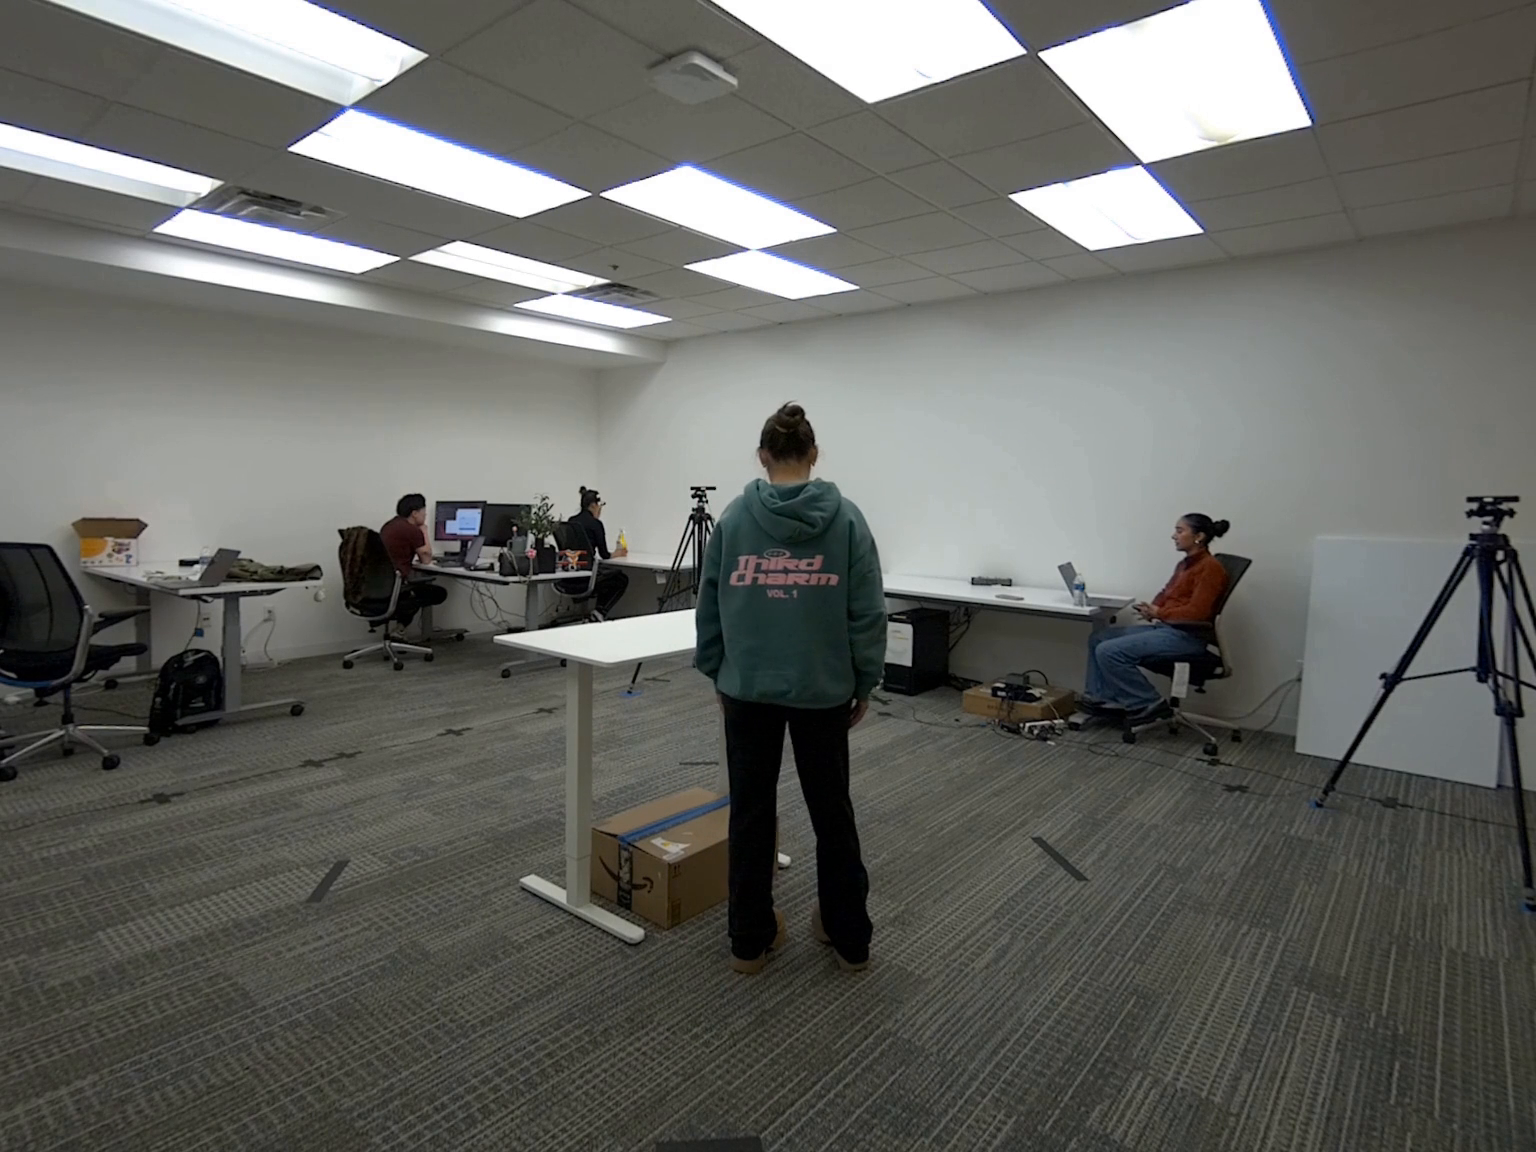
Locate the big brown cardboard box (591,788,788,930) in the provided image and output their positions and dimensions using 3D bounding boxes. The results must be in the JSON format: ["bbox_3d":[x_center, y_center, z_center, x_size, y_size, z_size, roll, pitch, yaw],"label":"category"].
[{"bbox_3d":[-0.306,0.963,2.992,0.431,0.232,0.571,5,6,39],"label":"big brown cardboard box"}]
